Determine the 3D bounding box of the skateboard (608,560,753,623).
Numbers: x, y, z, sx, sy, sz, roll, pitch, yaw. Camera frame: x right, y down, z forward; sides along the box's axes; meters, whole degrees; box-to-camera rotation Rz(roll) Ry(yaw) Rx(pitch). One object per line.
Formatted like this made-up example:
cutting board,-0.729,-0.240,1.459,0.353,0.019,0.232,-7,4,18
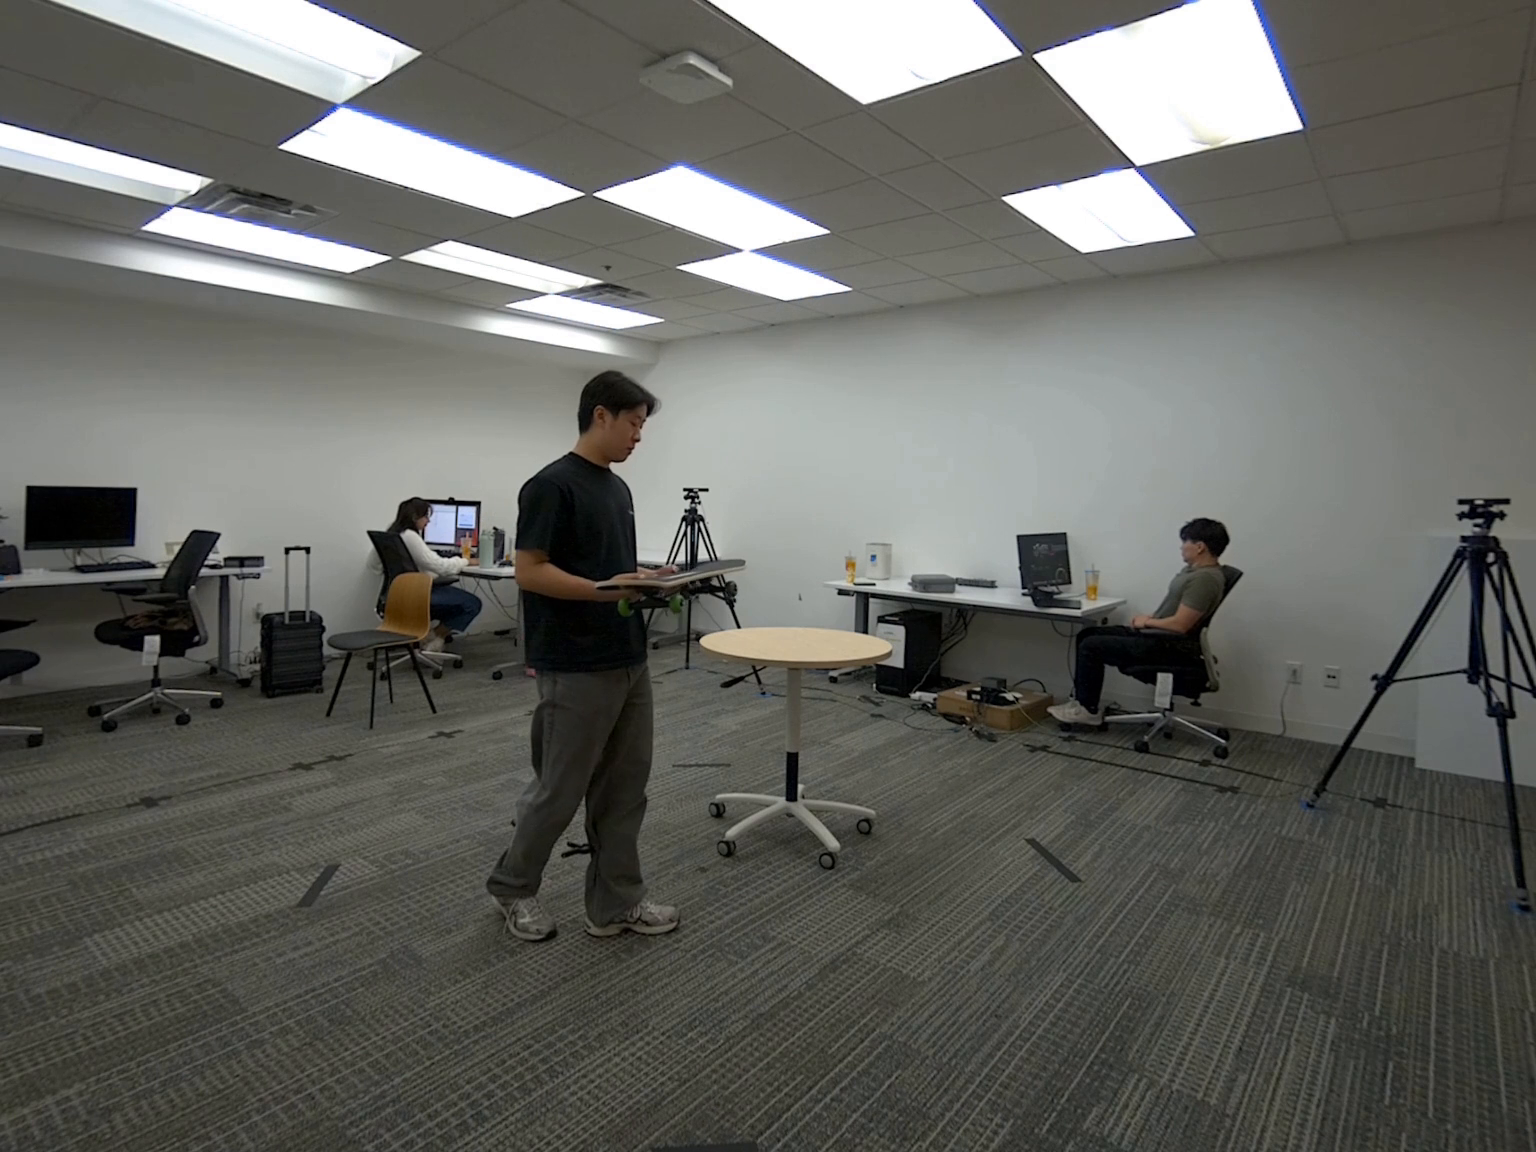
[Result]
skateboard,-0.277,0.038,2.466,0.197,0.110,0.771,-4,3,20
